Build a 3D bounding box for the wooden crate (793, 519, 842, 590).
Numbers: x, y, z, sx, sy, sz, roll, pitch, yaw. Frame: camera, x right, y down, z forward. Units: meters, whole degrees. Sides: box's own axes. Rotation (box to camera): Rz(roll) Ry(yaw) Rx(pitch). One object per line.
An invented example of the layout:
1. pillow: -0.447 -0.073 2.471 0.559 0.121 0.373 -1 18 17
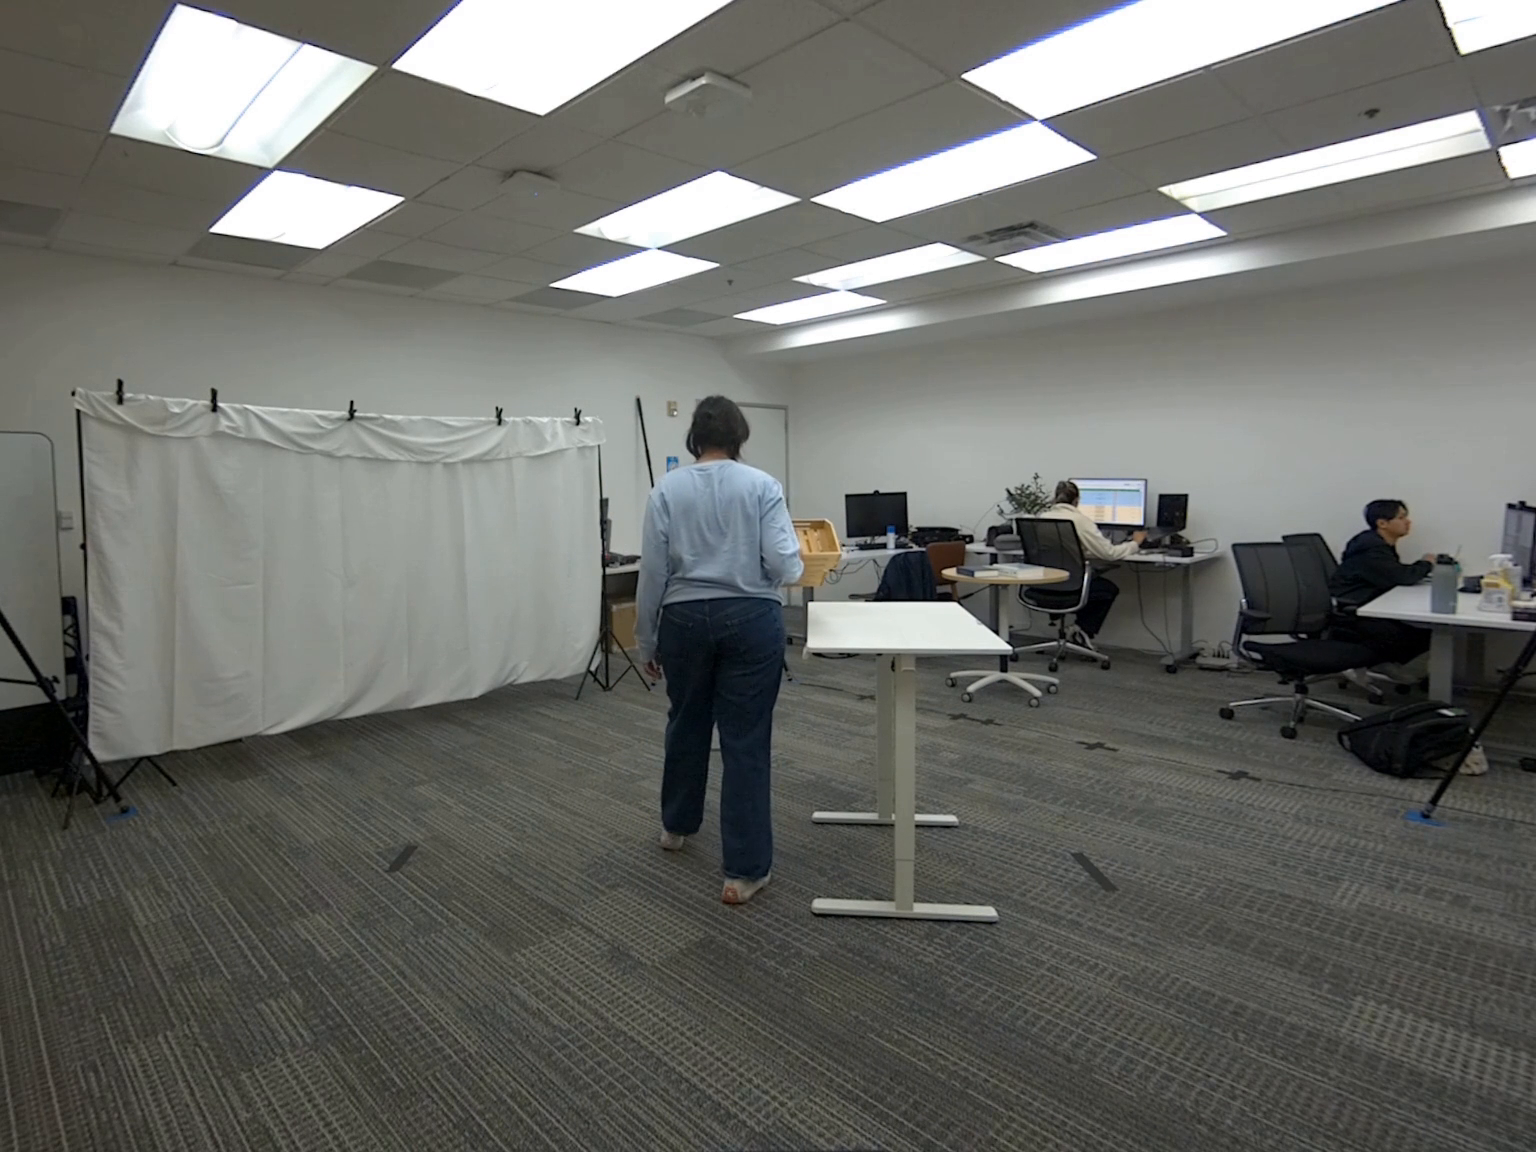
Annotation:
1. wooden crate: 0.082 -0.118 3.268 0.321 0.311 0.268 -1 -39 -12
